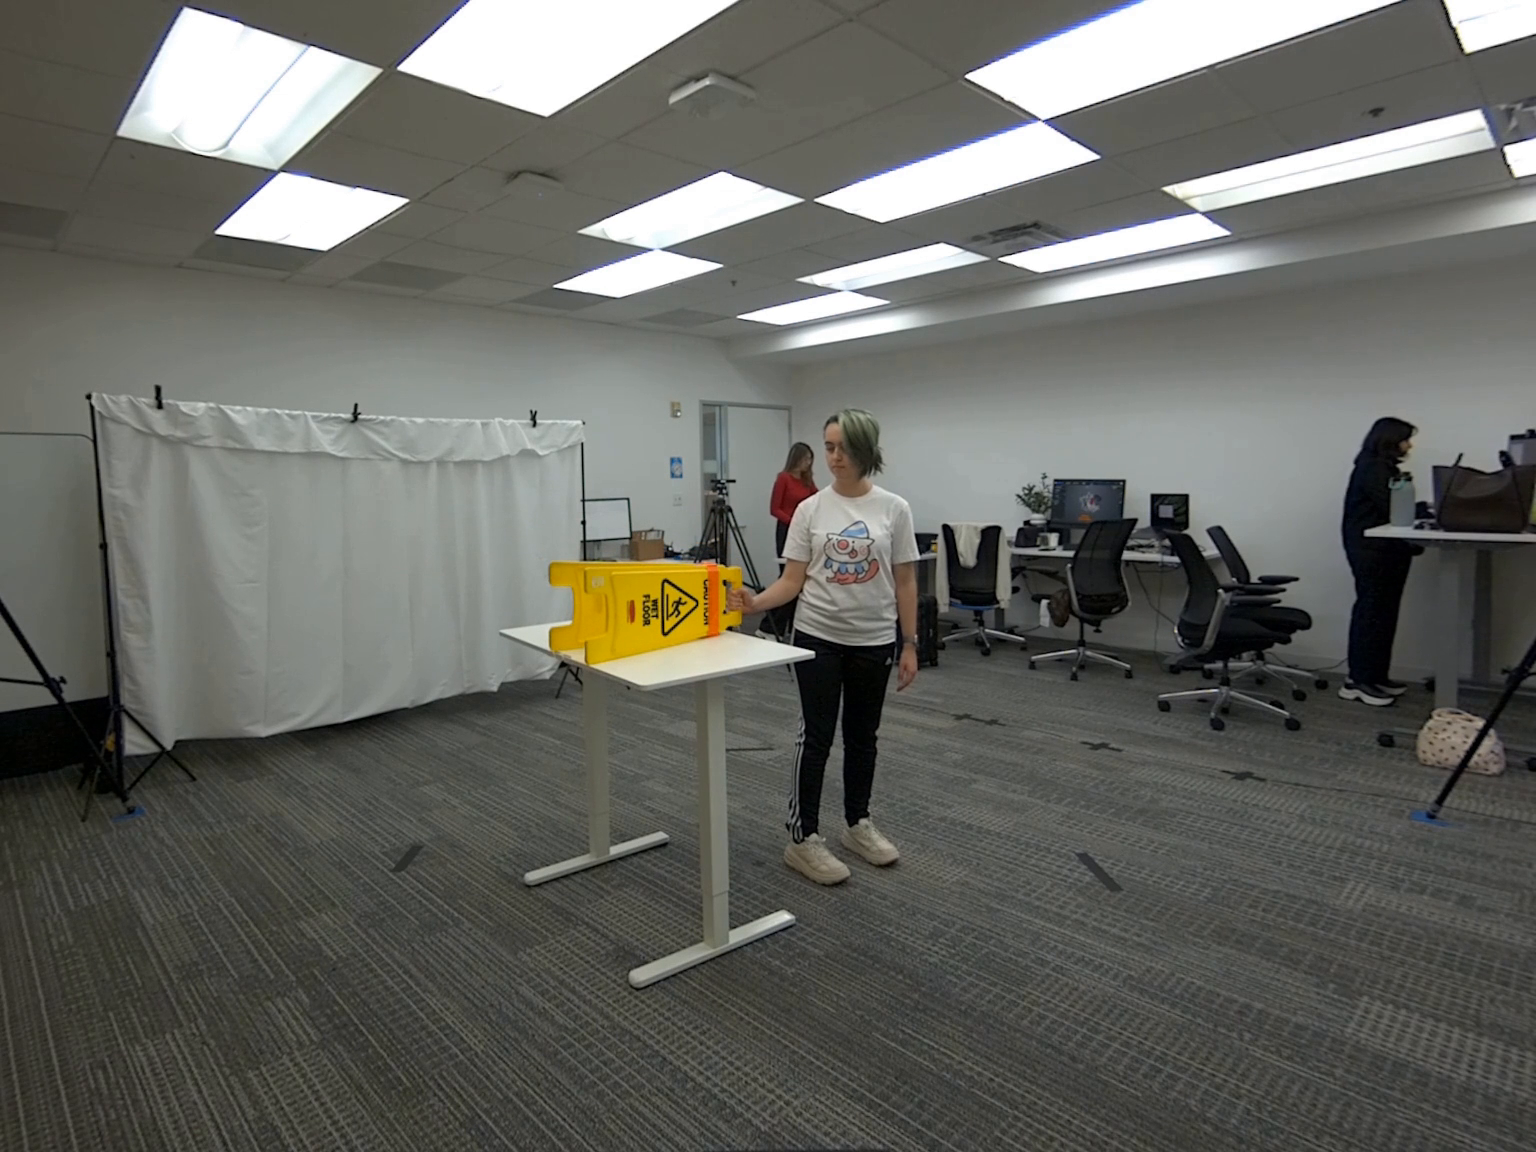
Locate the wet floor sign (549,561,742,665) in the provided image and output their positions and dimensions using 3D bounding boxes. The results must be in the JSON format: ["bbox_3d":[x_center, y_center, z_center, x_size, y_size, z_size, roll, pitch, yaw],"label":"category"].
[{"bbox_3d":[-0.344,0.089,2.723,0.629,0.281,0.298,-4,6,-37],"label":"wet floor sign"}]
